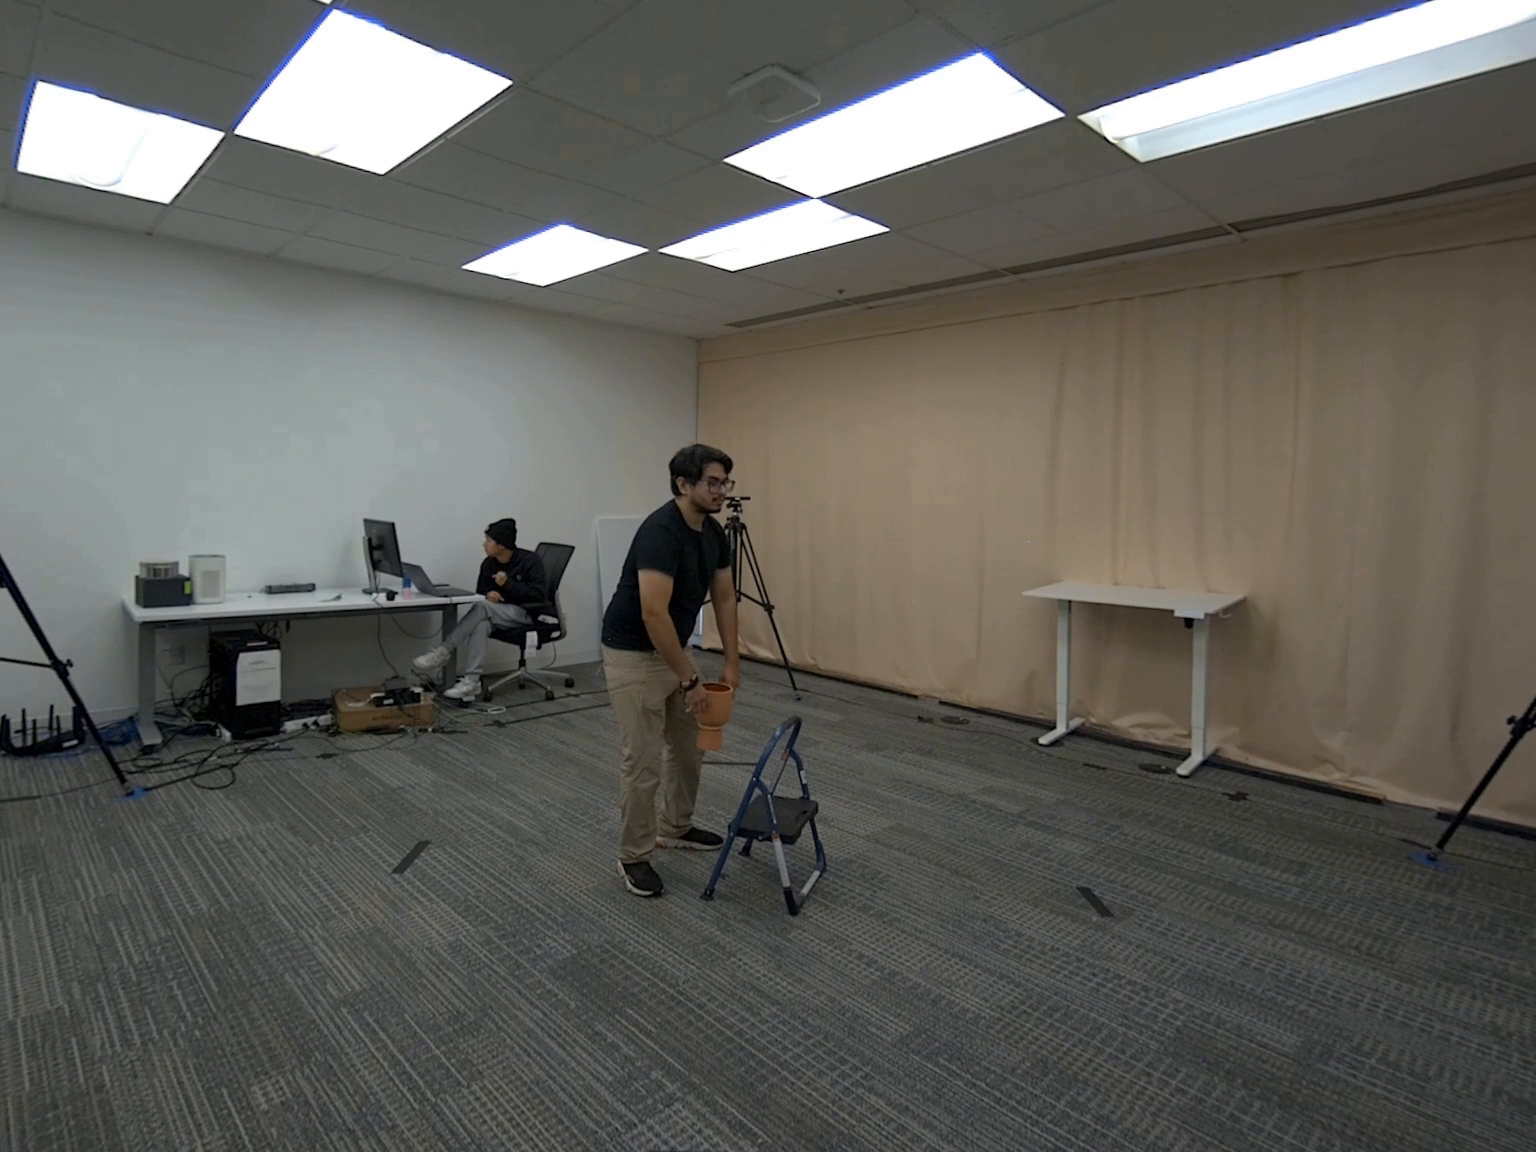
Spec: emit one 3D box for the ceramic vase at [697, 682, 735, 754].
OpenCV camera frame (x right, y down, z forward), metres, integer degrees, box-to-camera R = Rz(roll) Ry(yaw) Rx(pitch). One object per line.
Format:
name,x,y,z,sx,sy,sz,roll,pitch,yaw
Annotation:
ceramic vase,-0.210,0.512,3.036,0.156,0.219,0.137,3,6,-24
